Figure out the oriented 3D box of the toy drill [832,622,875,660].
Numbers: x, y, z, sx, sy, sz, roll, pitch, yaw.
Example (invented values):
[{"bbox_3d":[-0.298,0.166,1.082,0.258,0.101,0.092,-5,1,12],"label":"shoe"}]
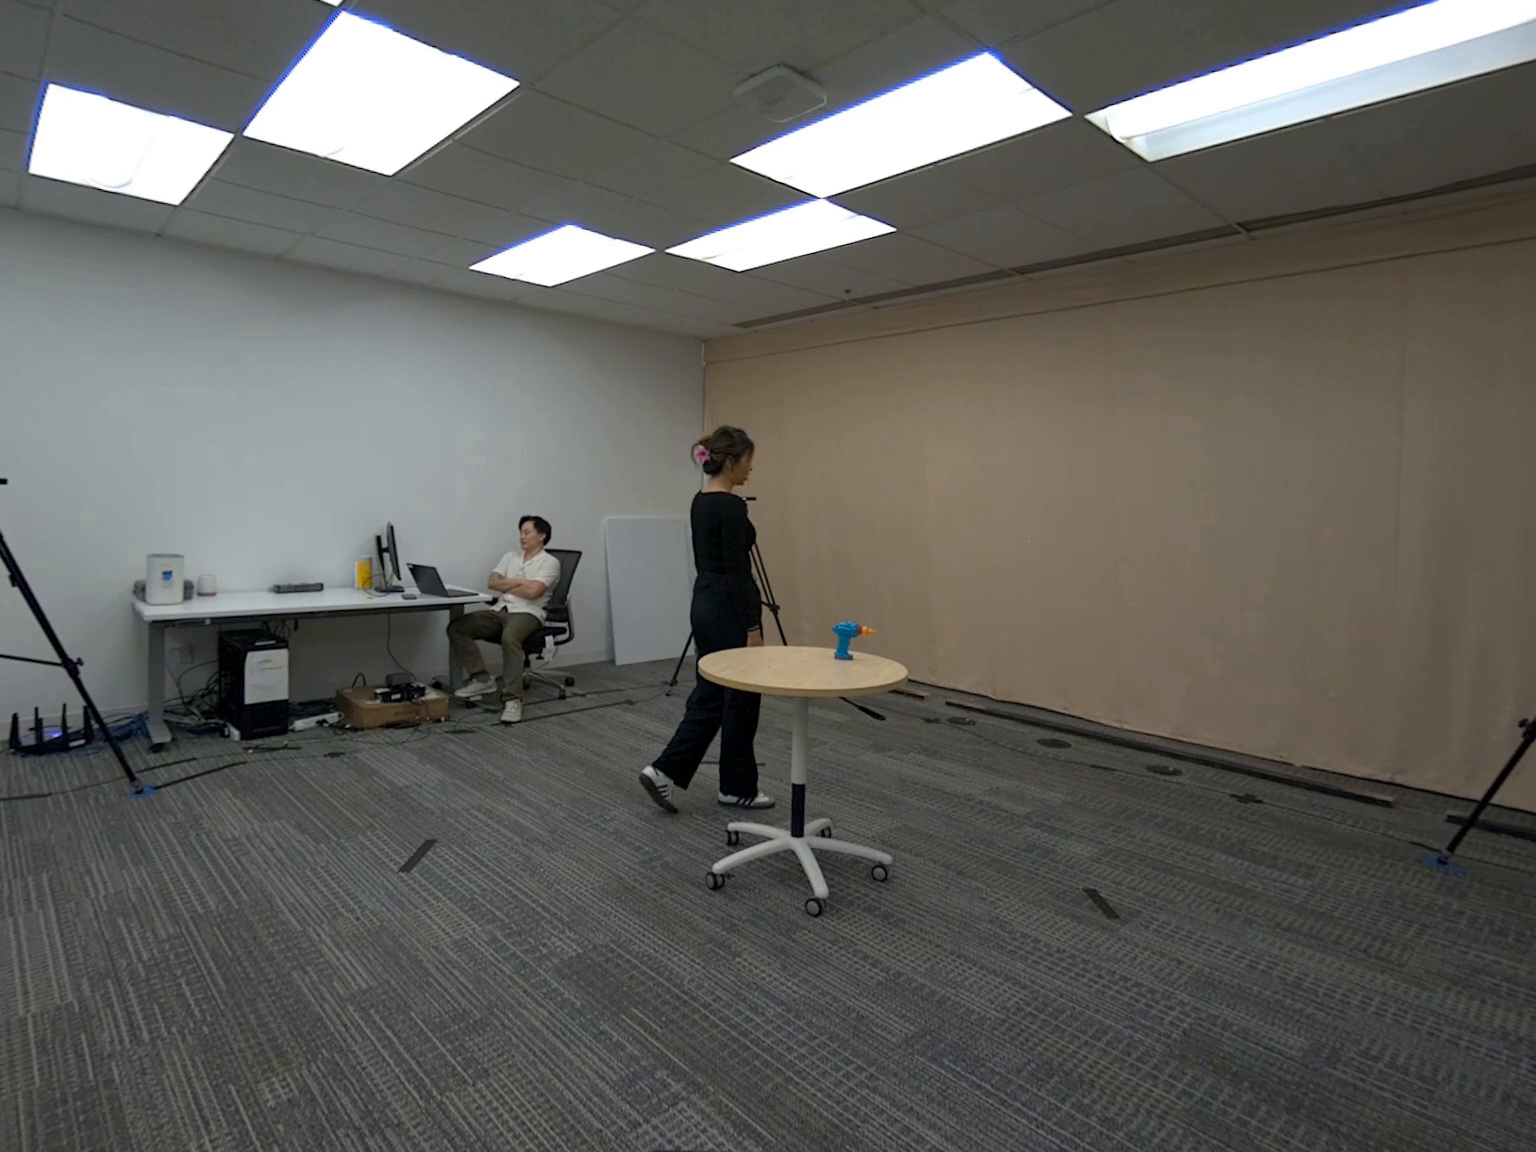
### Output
[{"bbox_3d":[0.333,0.249,3.238,0.171,0.145,0.061,2,5,9],"label":"toy drill"}]
